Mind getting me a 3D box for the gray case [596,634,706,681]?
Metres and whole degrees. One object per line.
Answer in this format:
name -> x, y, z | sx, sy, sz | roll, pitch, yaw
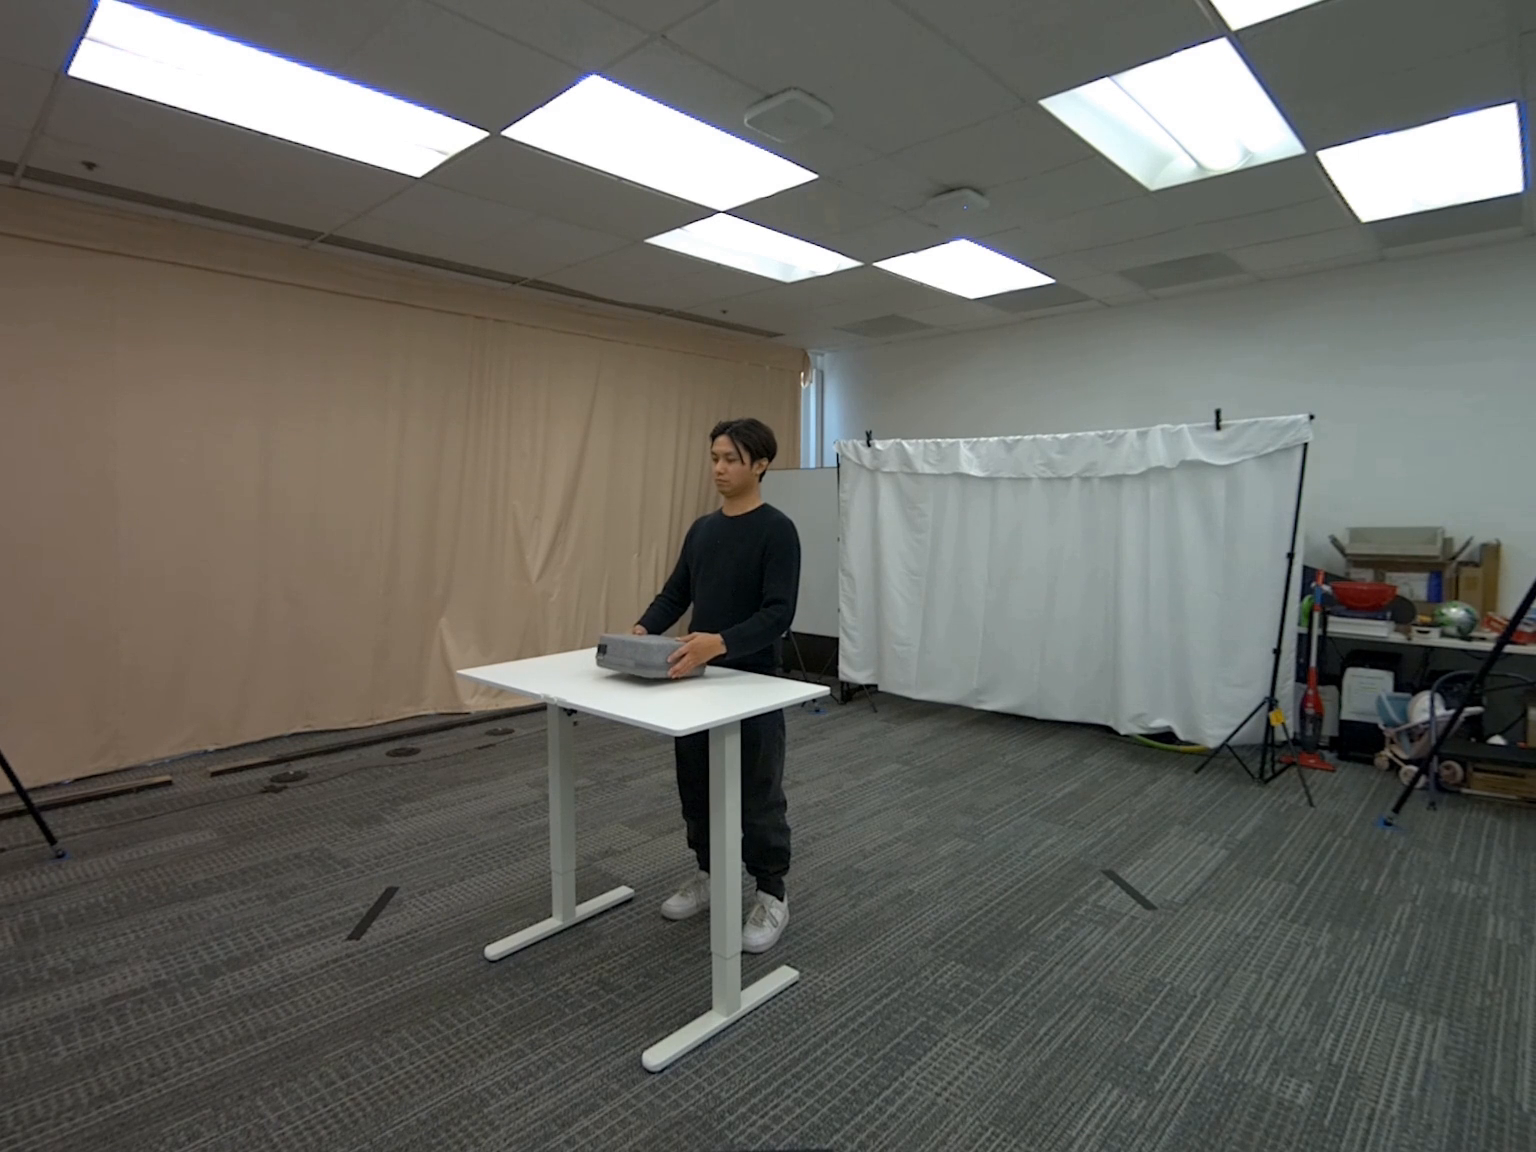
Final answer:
gray case -> -0.348, 0.238, 2.522 | 0.265, 0.104, 0.252 | 4, 0, 38
